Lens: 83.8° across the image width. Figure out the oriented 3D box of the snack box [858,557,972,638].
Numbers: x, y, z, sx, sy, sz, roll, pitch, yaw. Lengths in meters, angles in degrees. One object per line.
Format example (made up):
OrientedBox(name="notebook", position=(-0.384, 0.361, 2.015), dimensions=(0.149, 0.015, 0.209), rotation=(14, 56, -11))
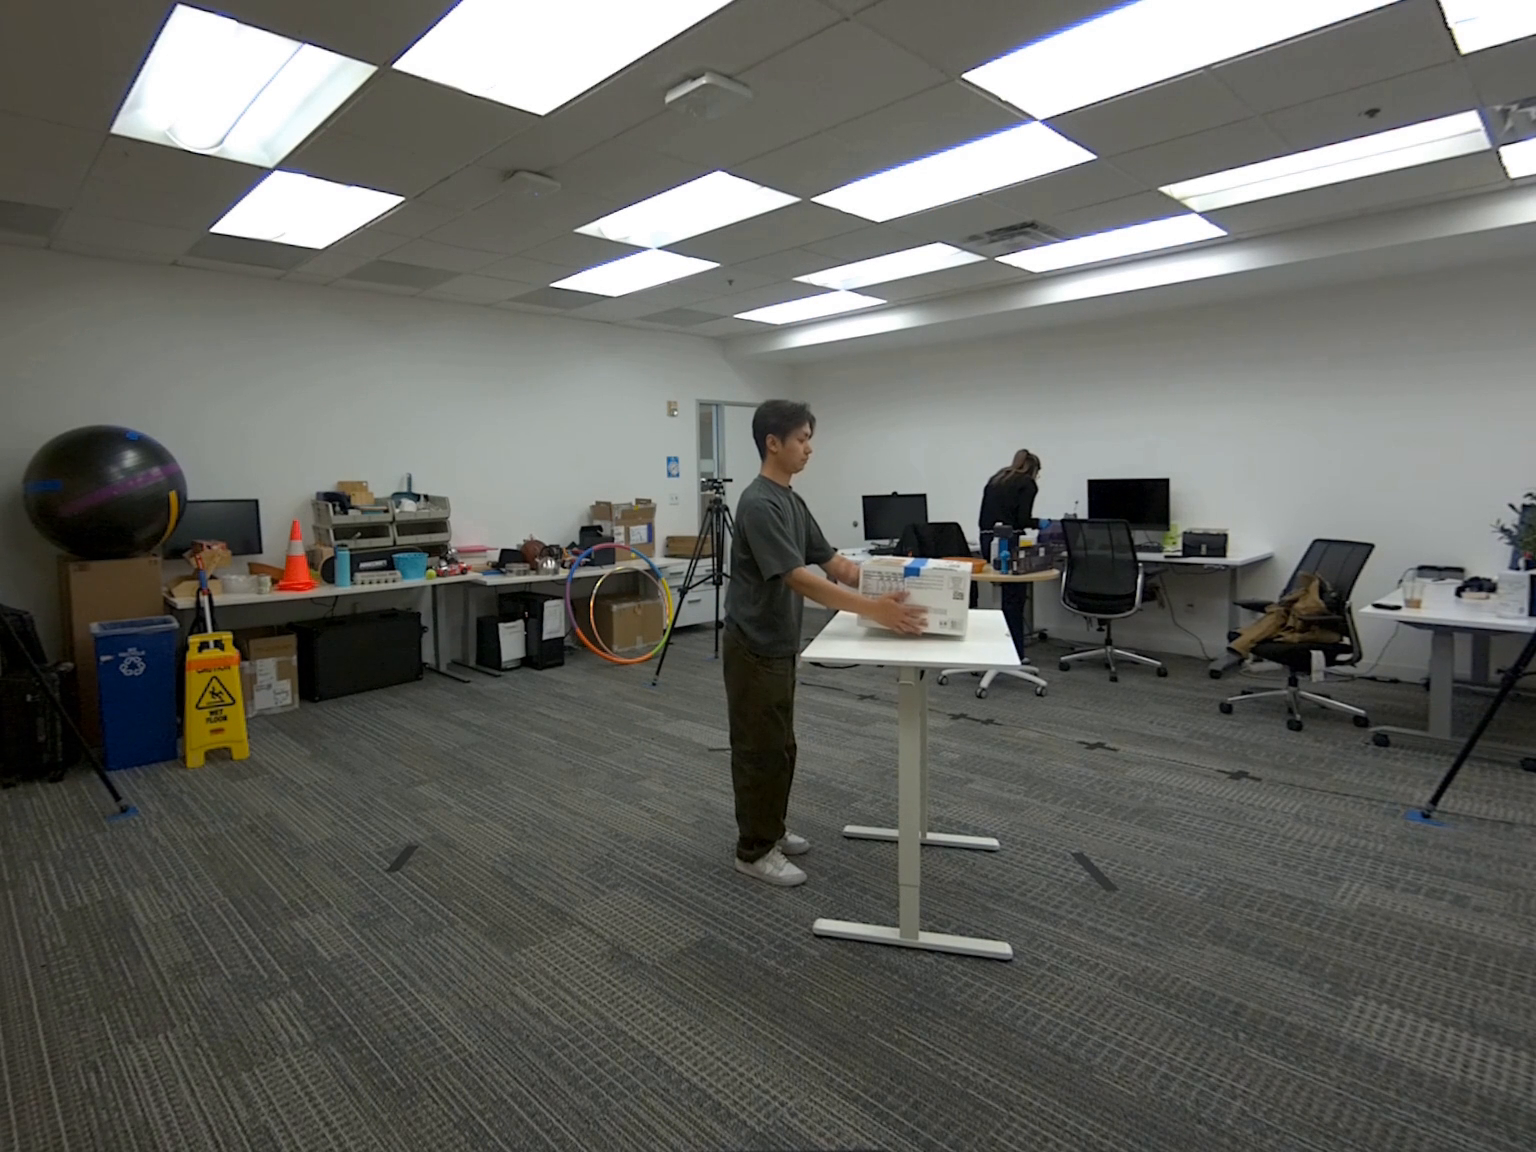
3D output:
OrientedBox(name="snack box", position=(0.498, 0.054, 2.865), dimensions=(0.346, 0.205, 0.400), rotation=(4, 6, 16))
